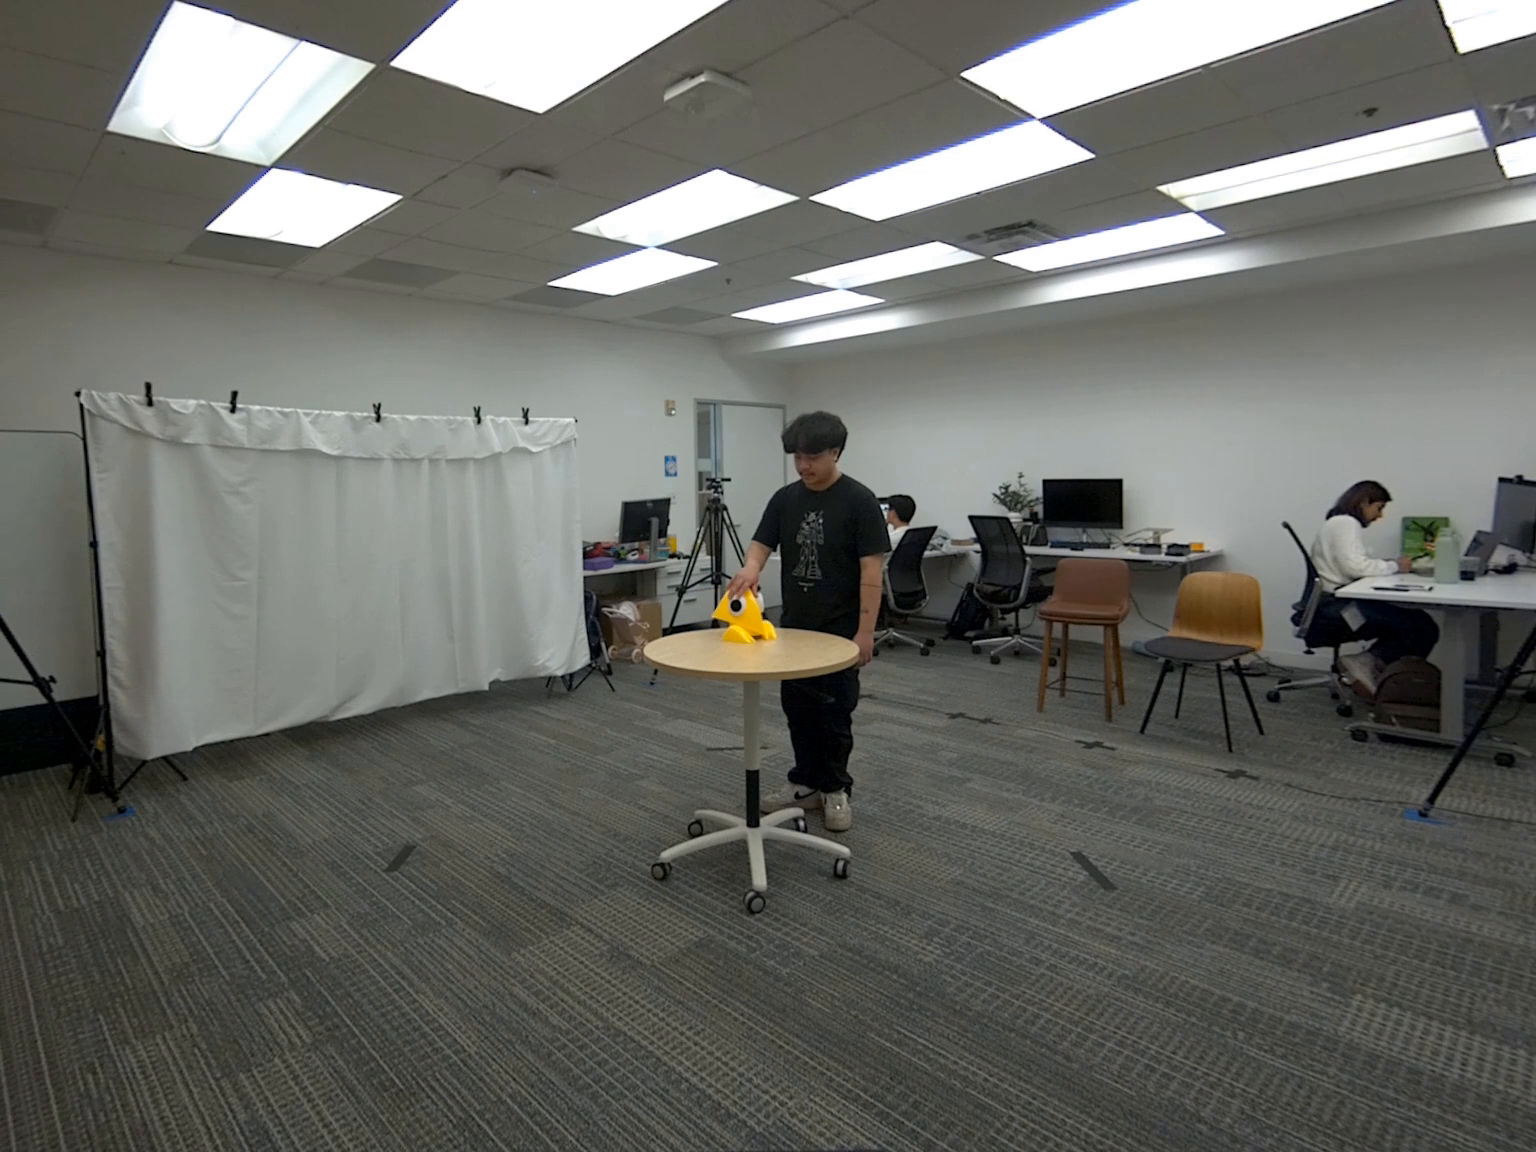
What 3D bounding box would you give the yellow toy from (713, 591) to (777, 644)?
[{"bbox_3d":[-0.076,0.119,3.221,0.199,0.230,0.199,-4,6,-39],"label":"yellow toy"}]
